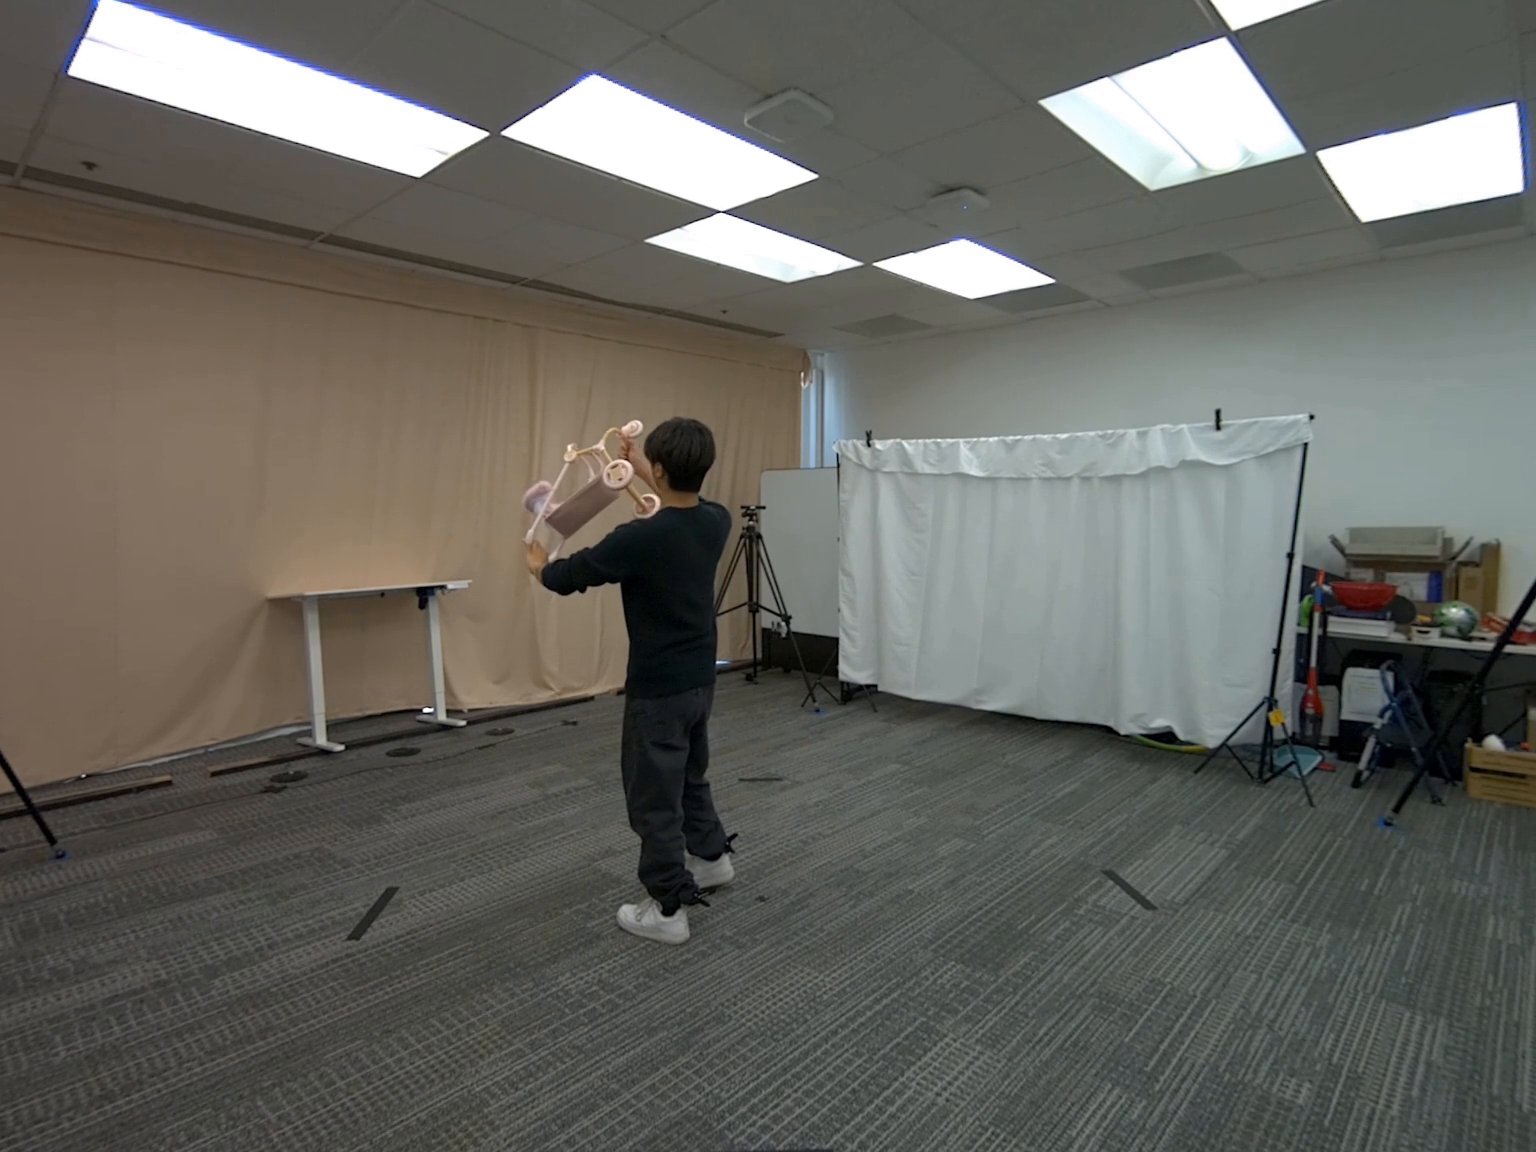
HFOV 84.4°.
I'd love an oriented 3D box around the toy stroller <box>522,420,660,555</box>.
[{"bbox_3d":[-0.643,-0.315,2.982,0.538,0.349,0.274,-27,-23,8],"label":"toy stroller"}]
